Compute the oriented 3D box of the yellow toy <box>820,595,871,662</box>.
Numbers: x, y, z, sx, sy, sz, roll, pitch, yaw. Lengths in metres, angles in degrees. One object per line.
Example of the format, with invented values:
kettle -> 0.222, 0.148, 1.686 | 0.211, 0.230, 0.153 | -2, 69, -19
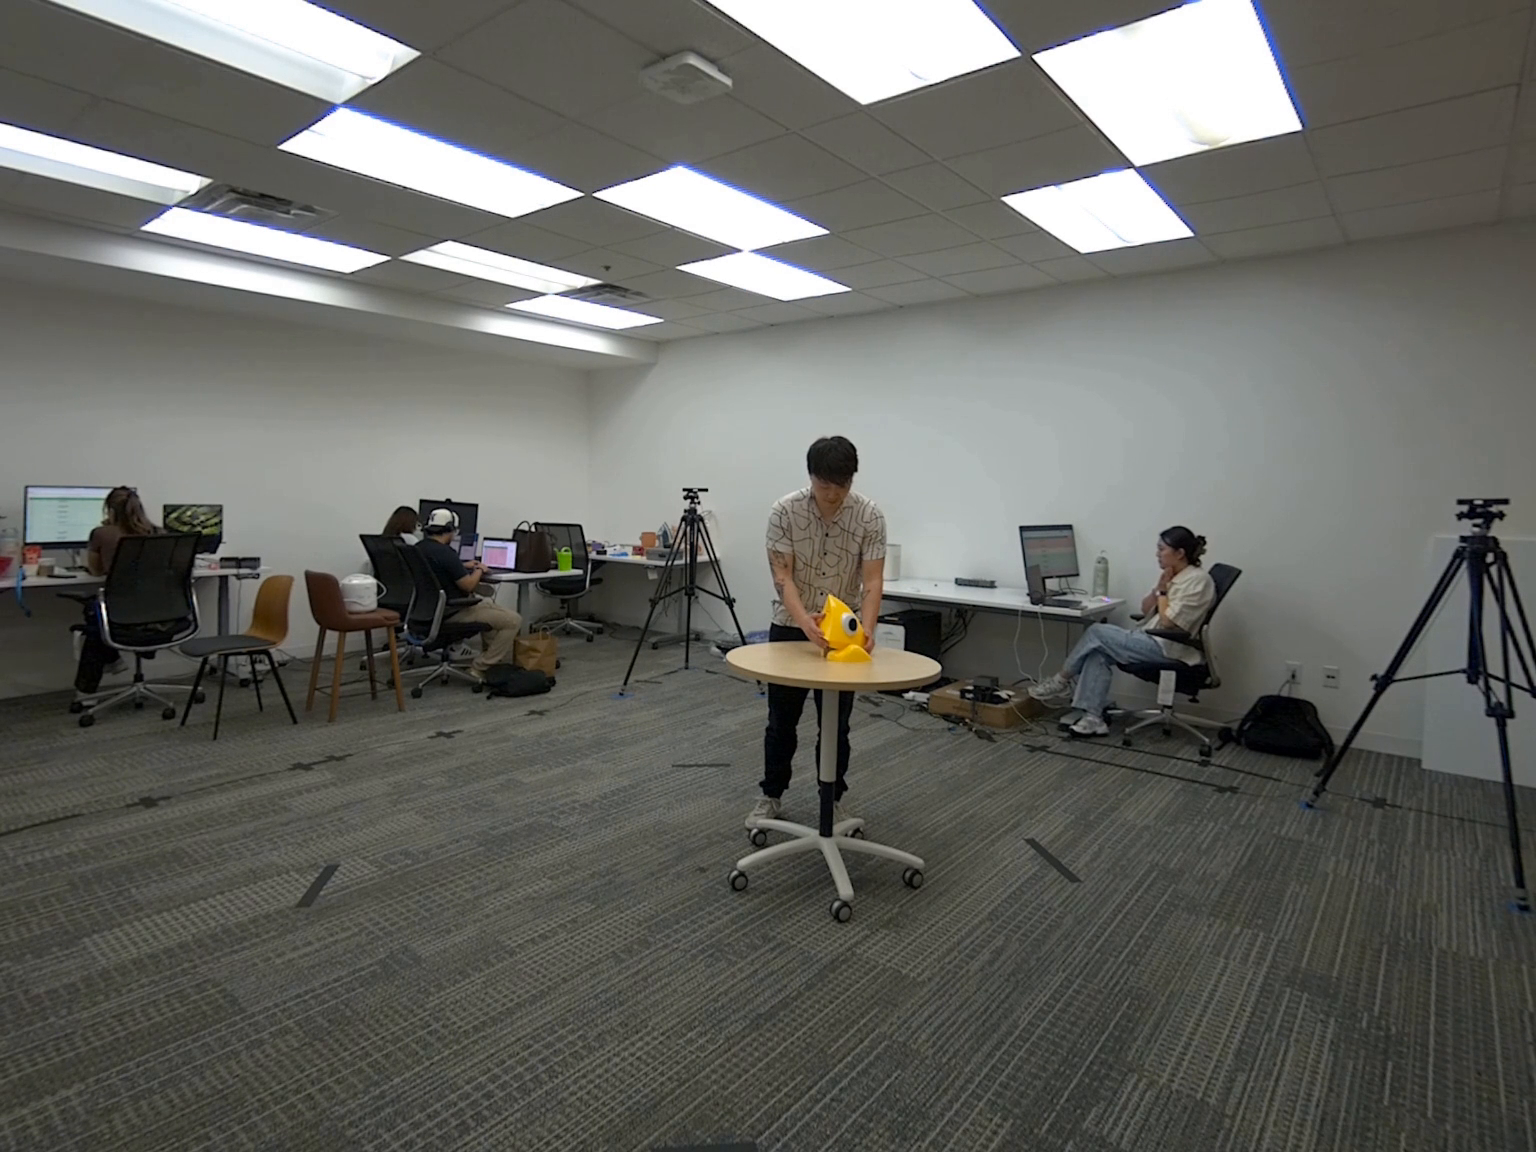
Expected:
yellow toy -> 0.270, 0.178, 3.129 | 0.191, 0.230, 0.207 | -1, 3, -11
